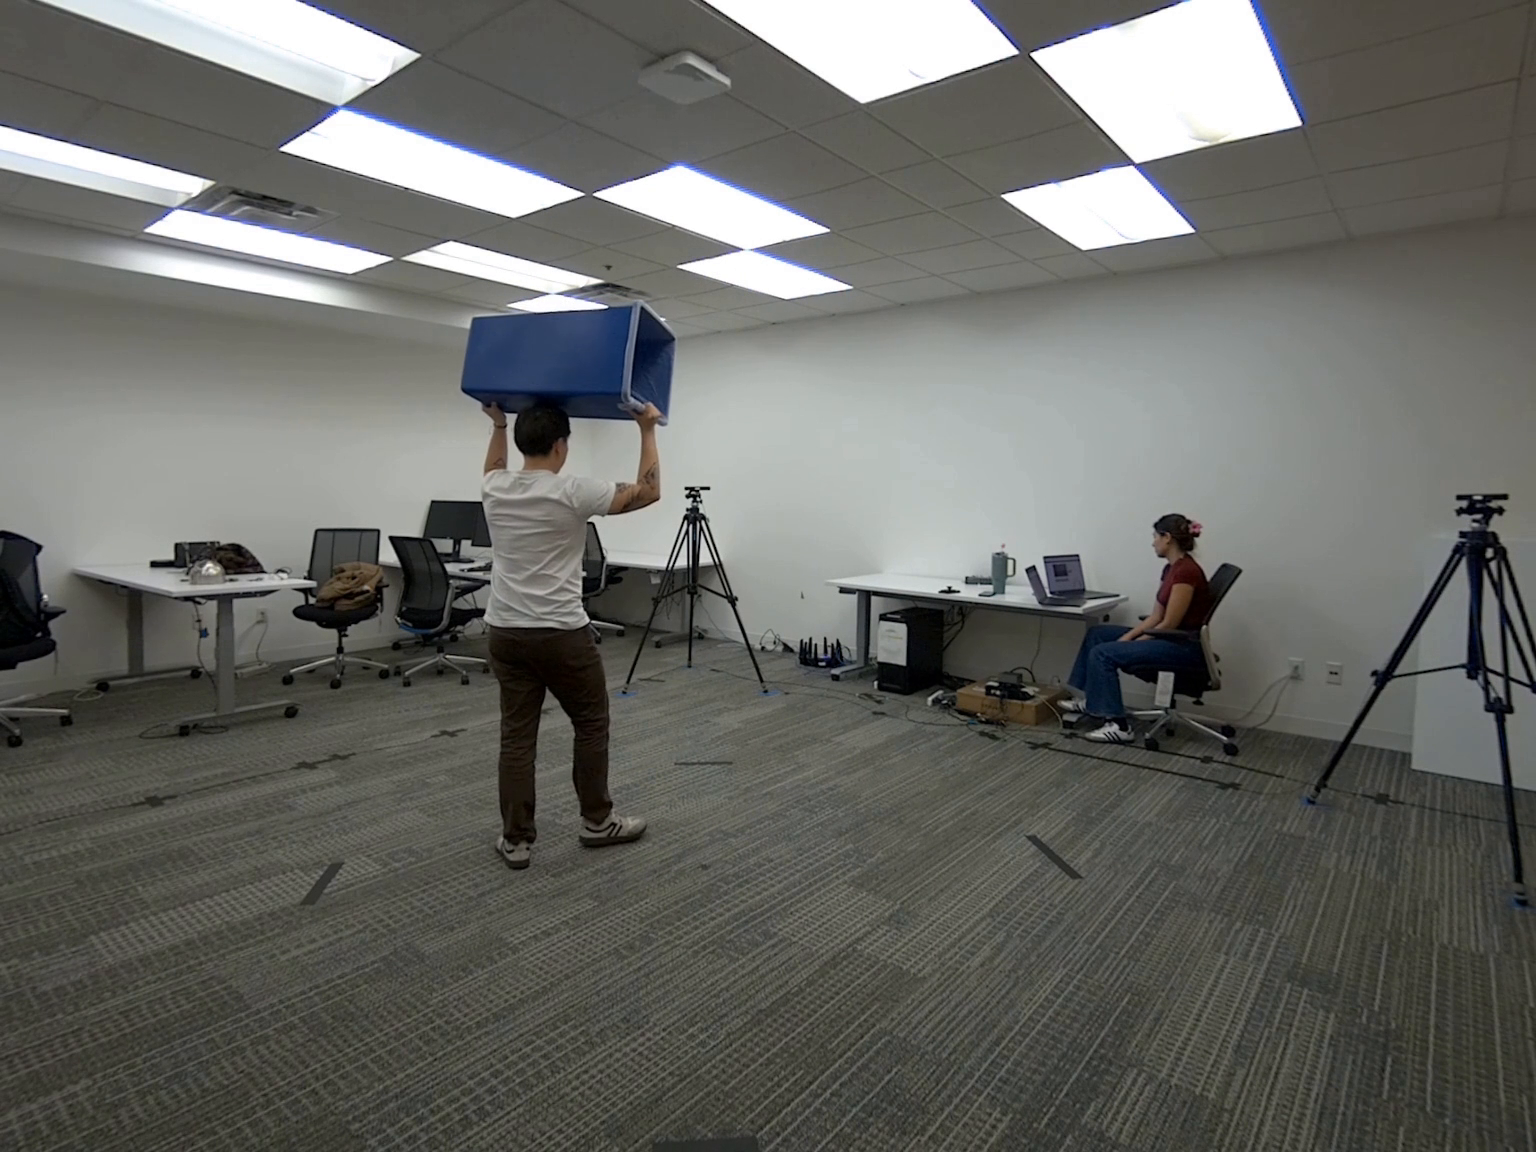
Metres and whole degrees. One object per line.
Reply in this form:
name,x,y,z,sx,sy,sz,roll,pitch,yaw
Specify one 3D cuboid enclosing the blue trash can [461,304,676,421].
blue trash can,-0.749,-0.801,3.216,0.729,0.380,0.364,5,-6,20
